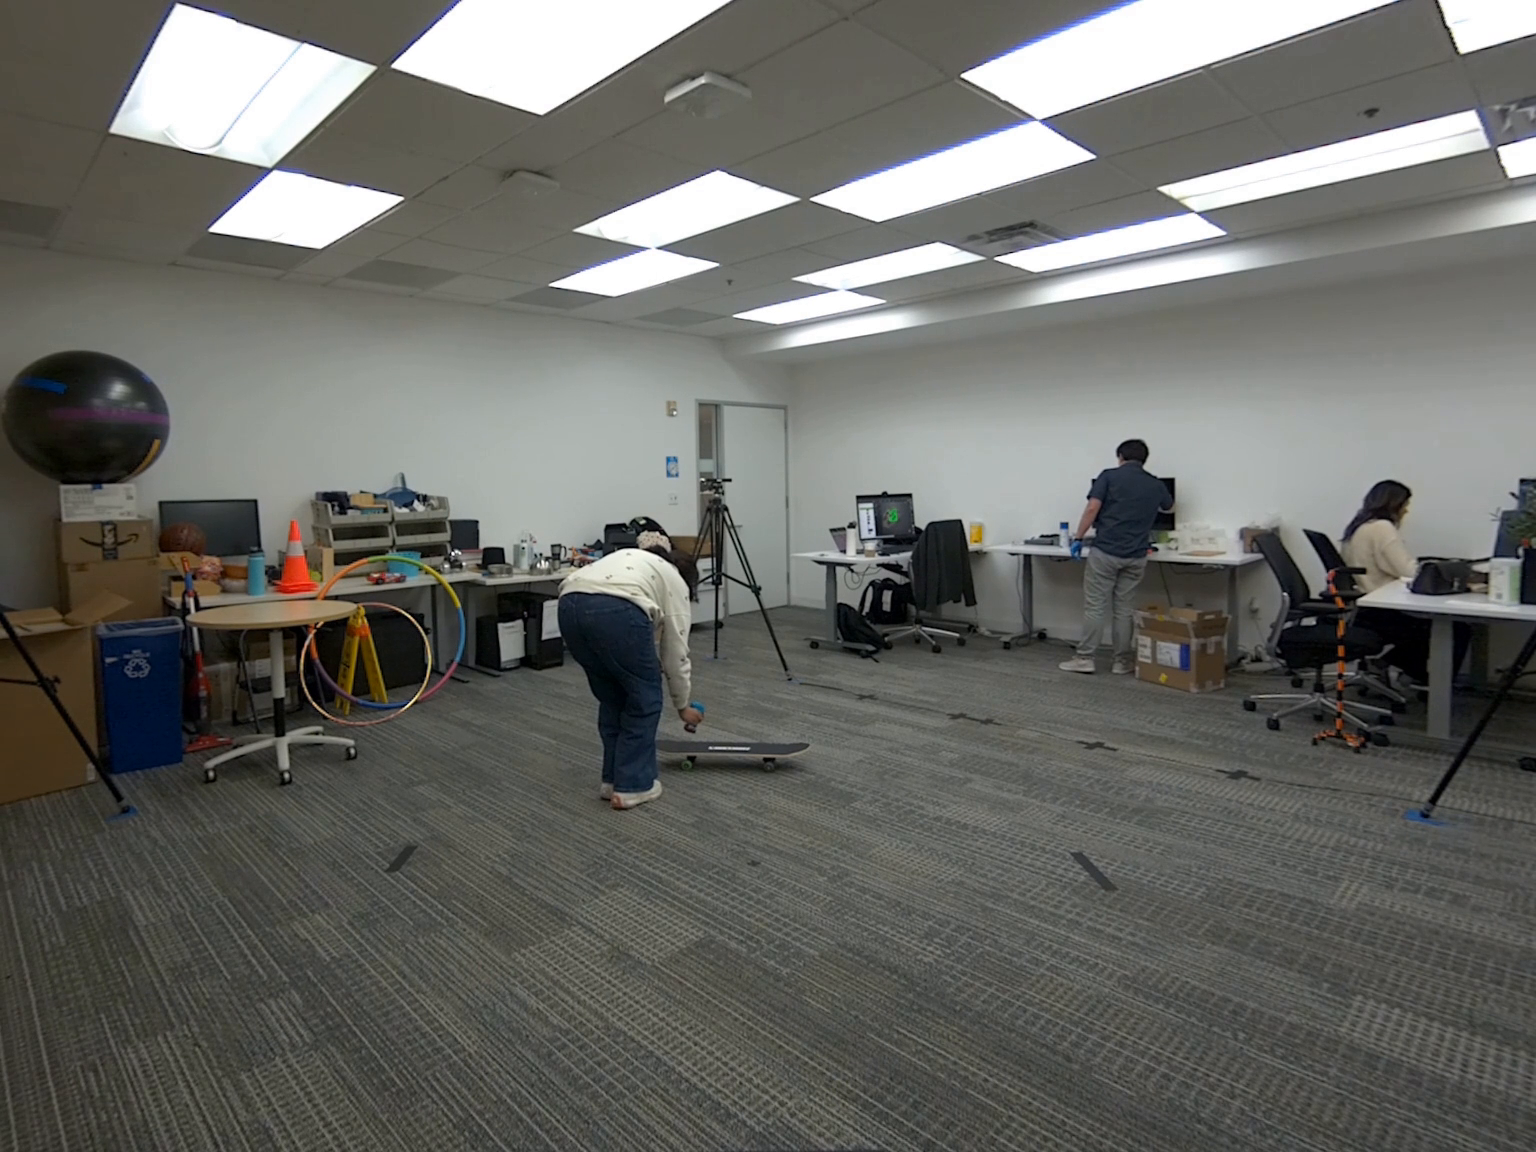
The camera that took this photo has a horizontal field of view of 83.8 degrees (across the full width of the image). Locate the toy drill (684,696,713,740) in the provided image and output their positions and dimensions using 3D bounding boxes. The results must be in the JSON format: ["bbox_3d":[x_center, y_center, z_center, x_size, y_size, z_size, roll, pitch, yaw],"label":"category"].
[{"bbox_3d":[-0.334,0.679,4.100,0.062,0.149,0.164,-2,-33,16],"label":"toy drill"}]
